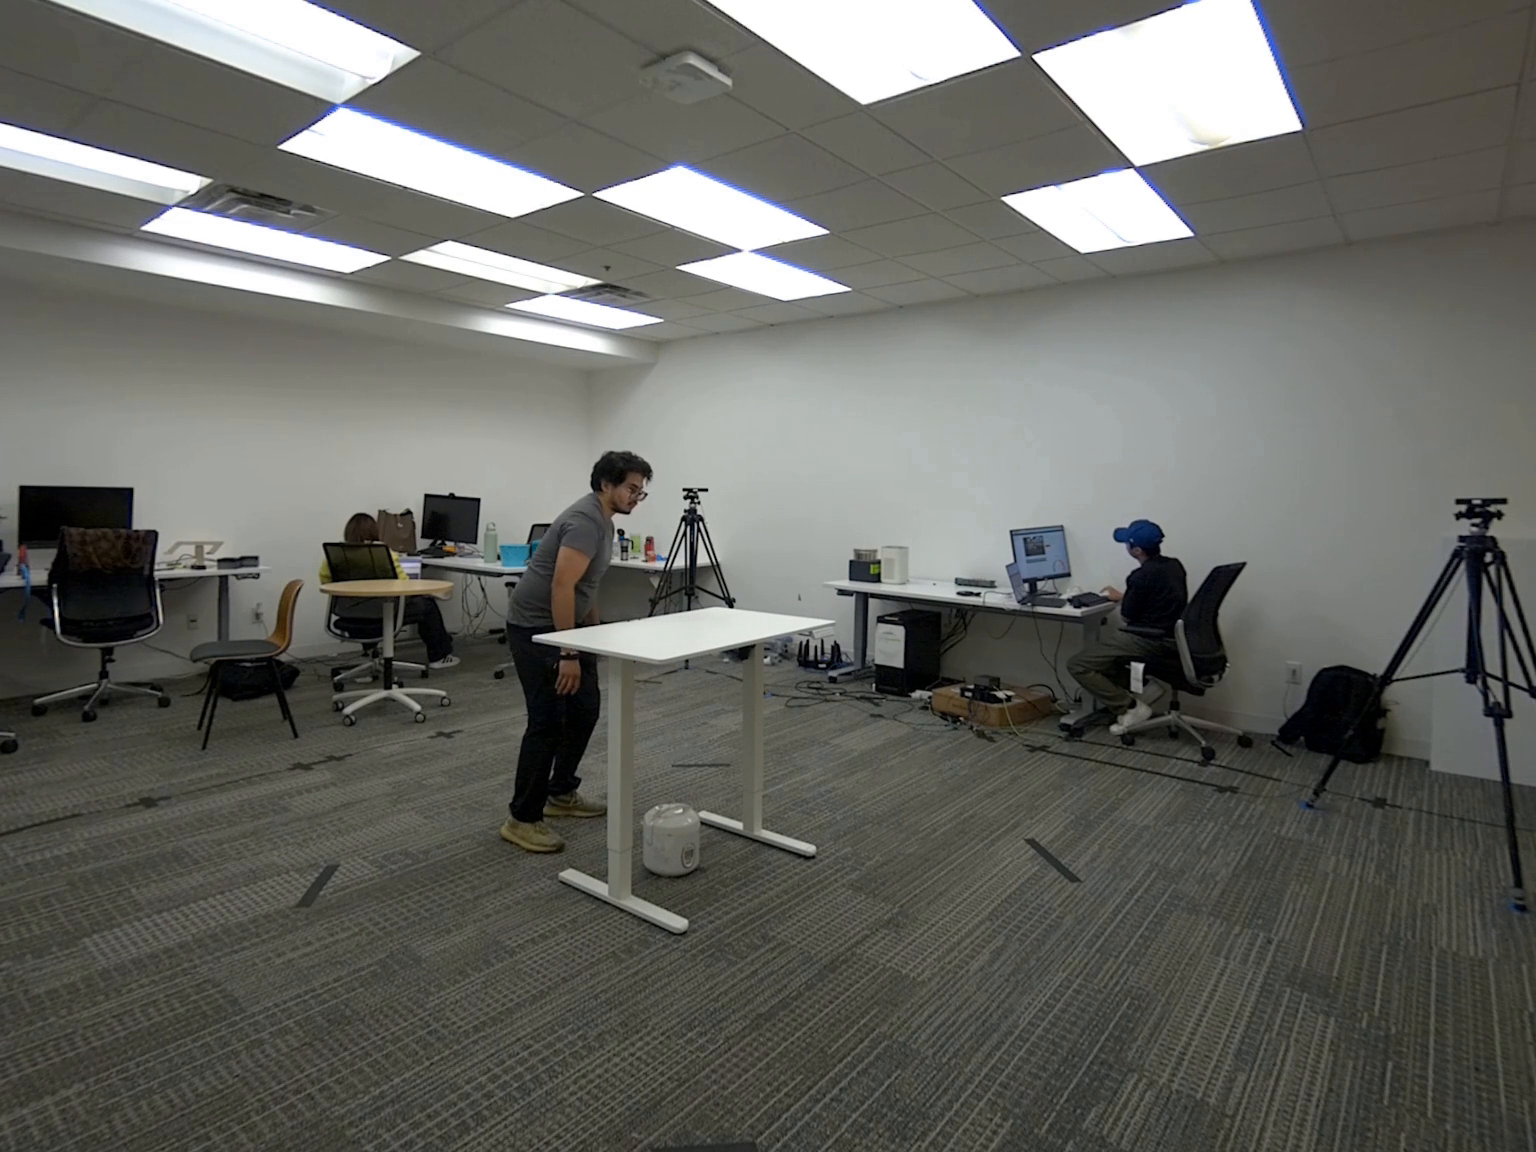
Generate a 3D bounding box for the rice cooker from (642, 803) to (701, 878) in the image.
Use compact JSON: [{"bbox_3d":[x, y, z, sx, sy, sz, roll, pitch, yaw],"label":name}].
[{"bbox_3d":[-0.362,0.953,3.115,0.214,0.232,0.224,-2,3,-40],"label":"rice cooker"}]
